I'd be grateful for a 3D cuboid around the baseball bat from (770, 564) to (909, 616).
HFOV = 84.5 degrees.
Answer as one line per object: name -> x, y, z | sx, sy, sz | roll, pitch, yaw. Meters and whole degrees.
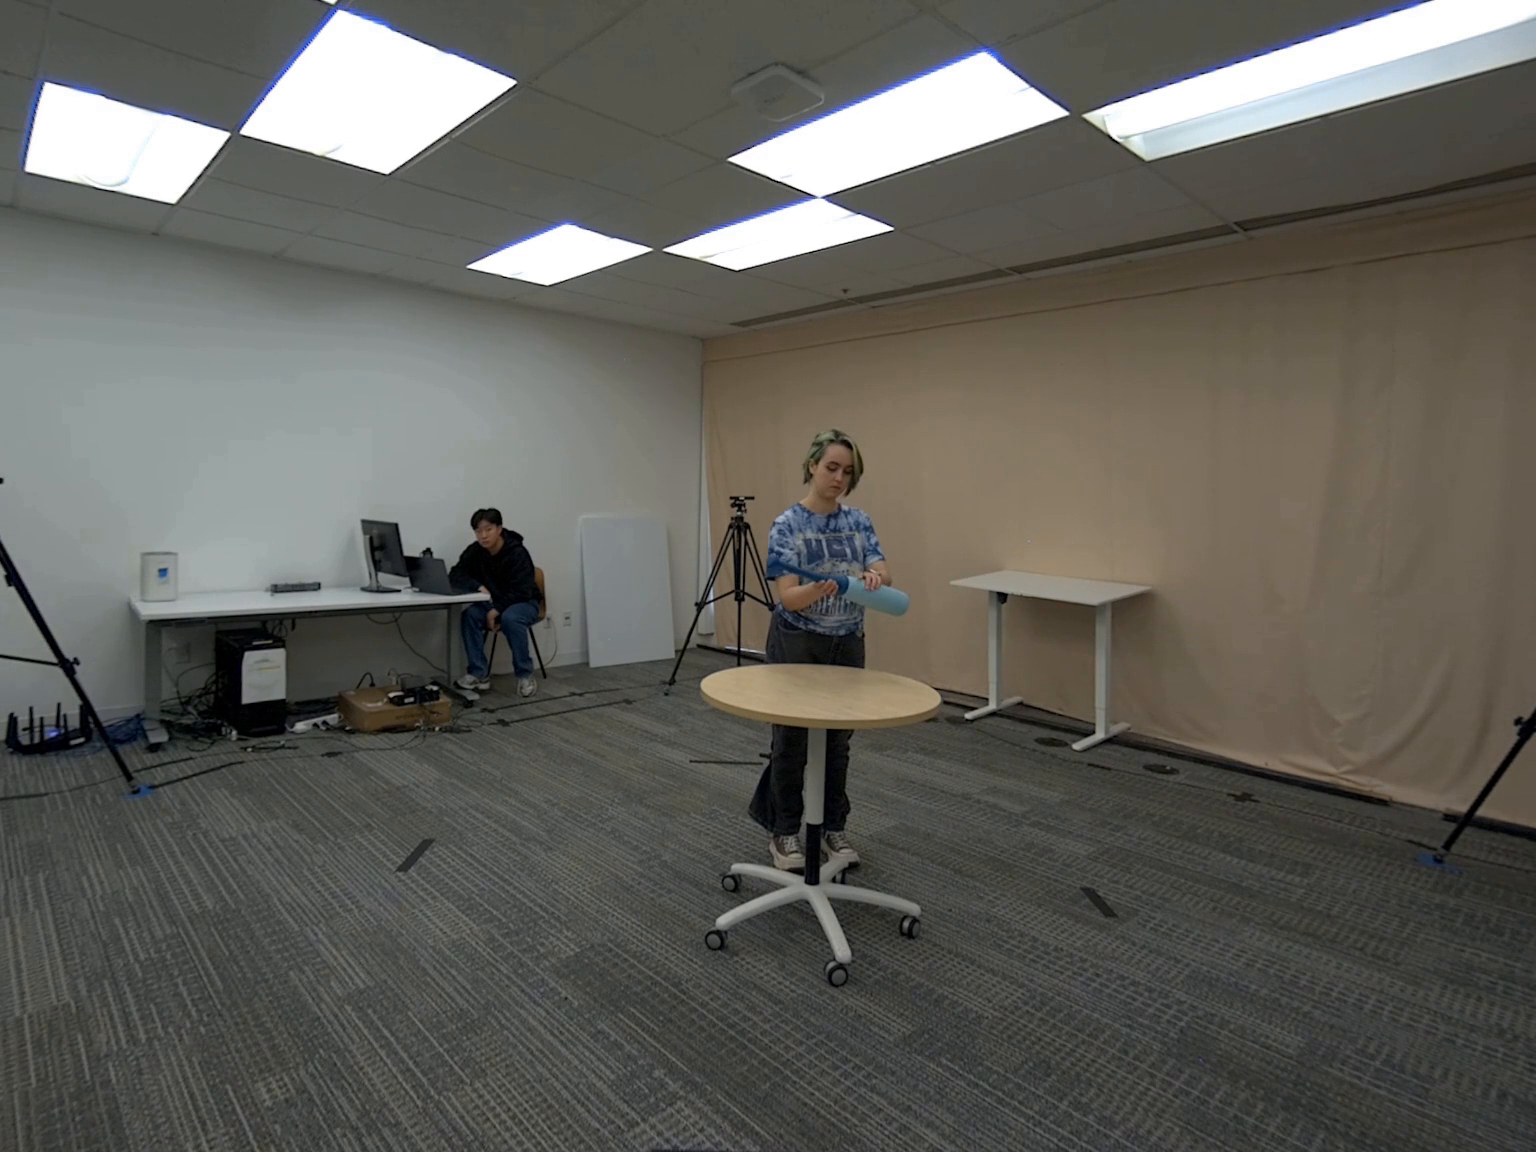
baseball bat -> 0.234, 0.035, 2.779 | 0.533, 0.089, 0.090 | 17, -2, -20
